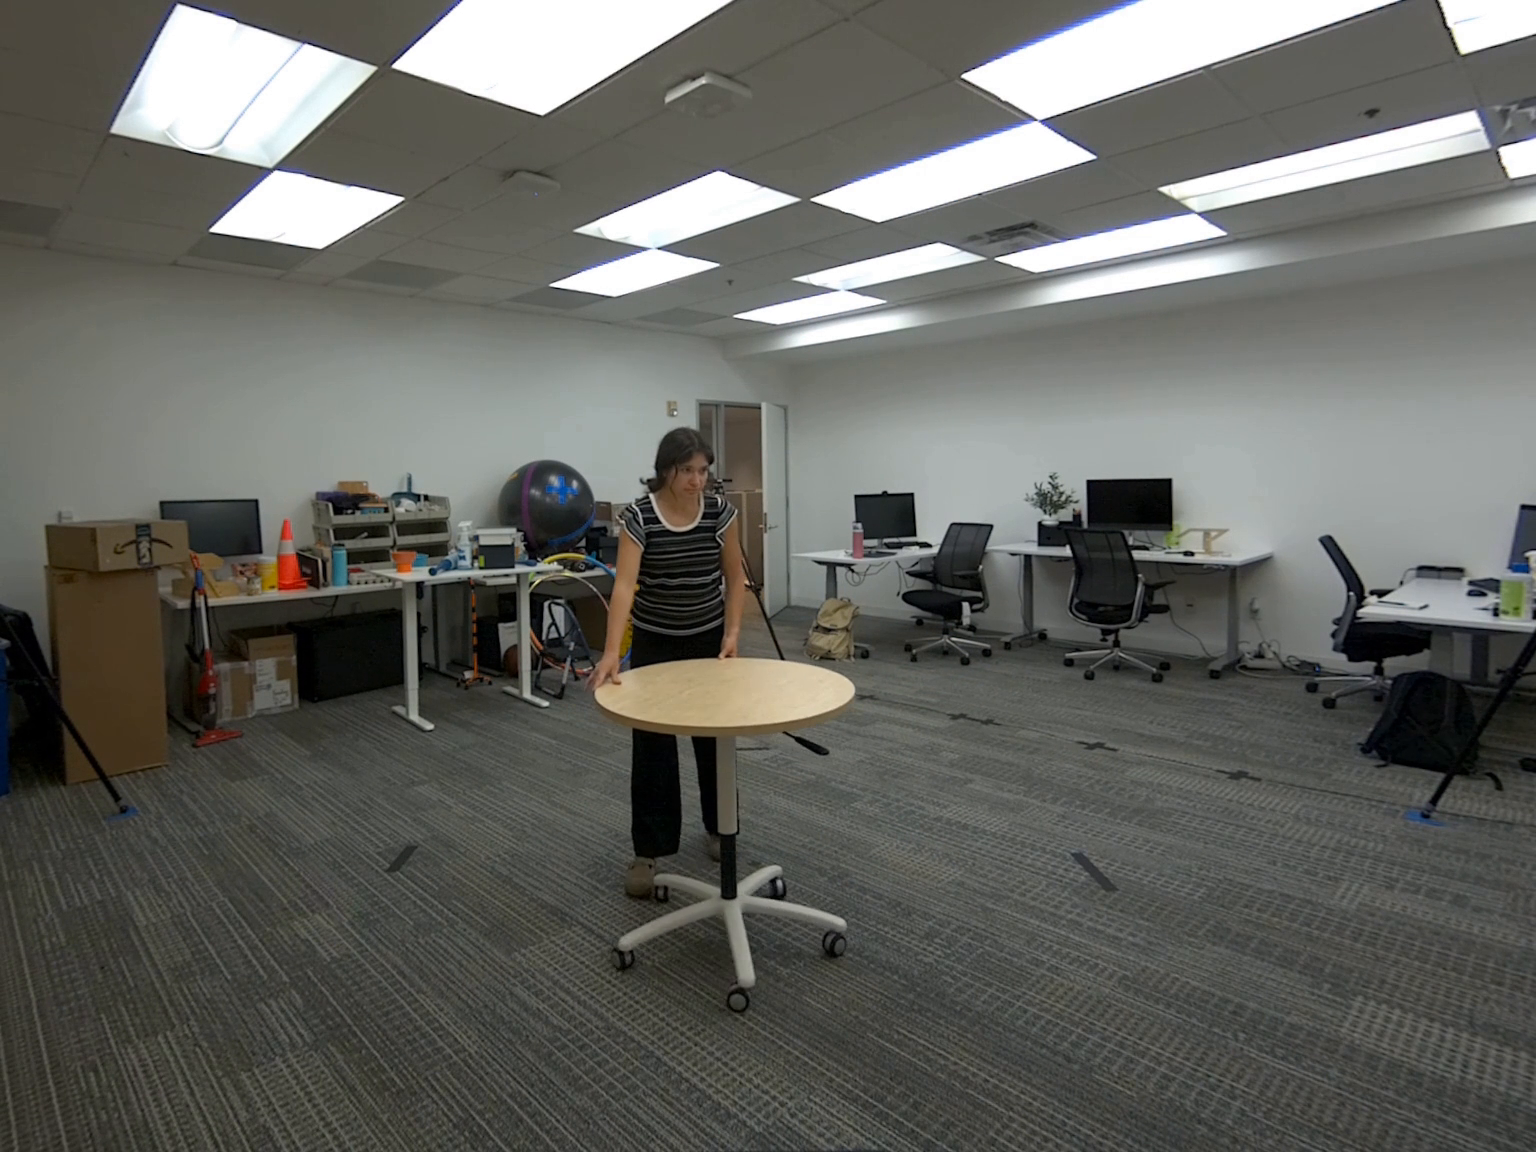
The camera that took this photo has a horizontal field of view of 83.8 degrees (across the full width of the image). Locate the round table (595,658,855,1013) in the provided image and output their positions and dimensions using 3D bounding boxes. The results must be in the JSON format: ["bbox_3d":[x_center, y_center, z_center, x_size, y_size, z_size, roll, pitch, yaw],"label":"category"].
[{"bbox_3d":[-0.109,0.719,2.554,0.784,0.783,0.789,-1,6,-2],"label":"round table"}]
